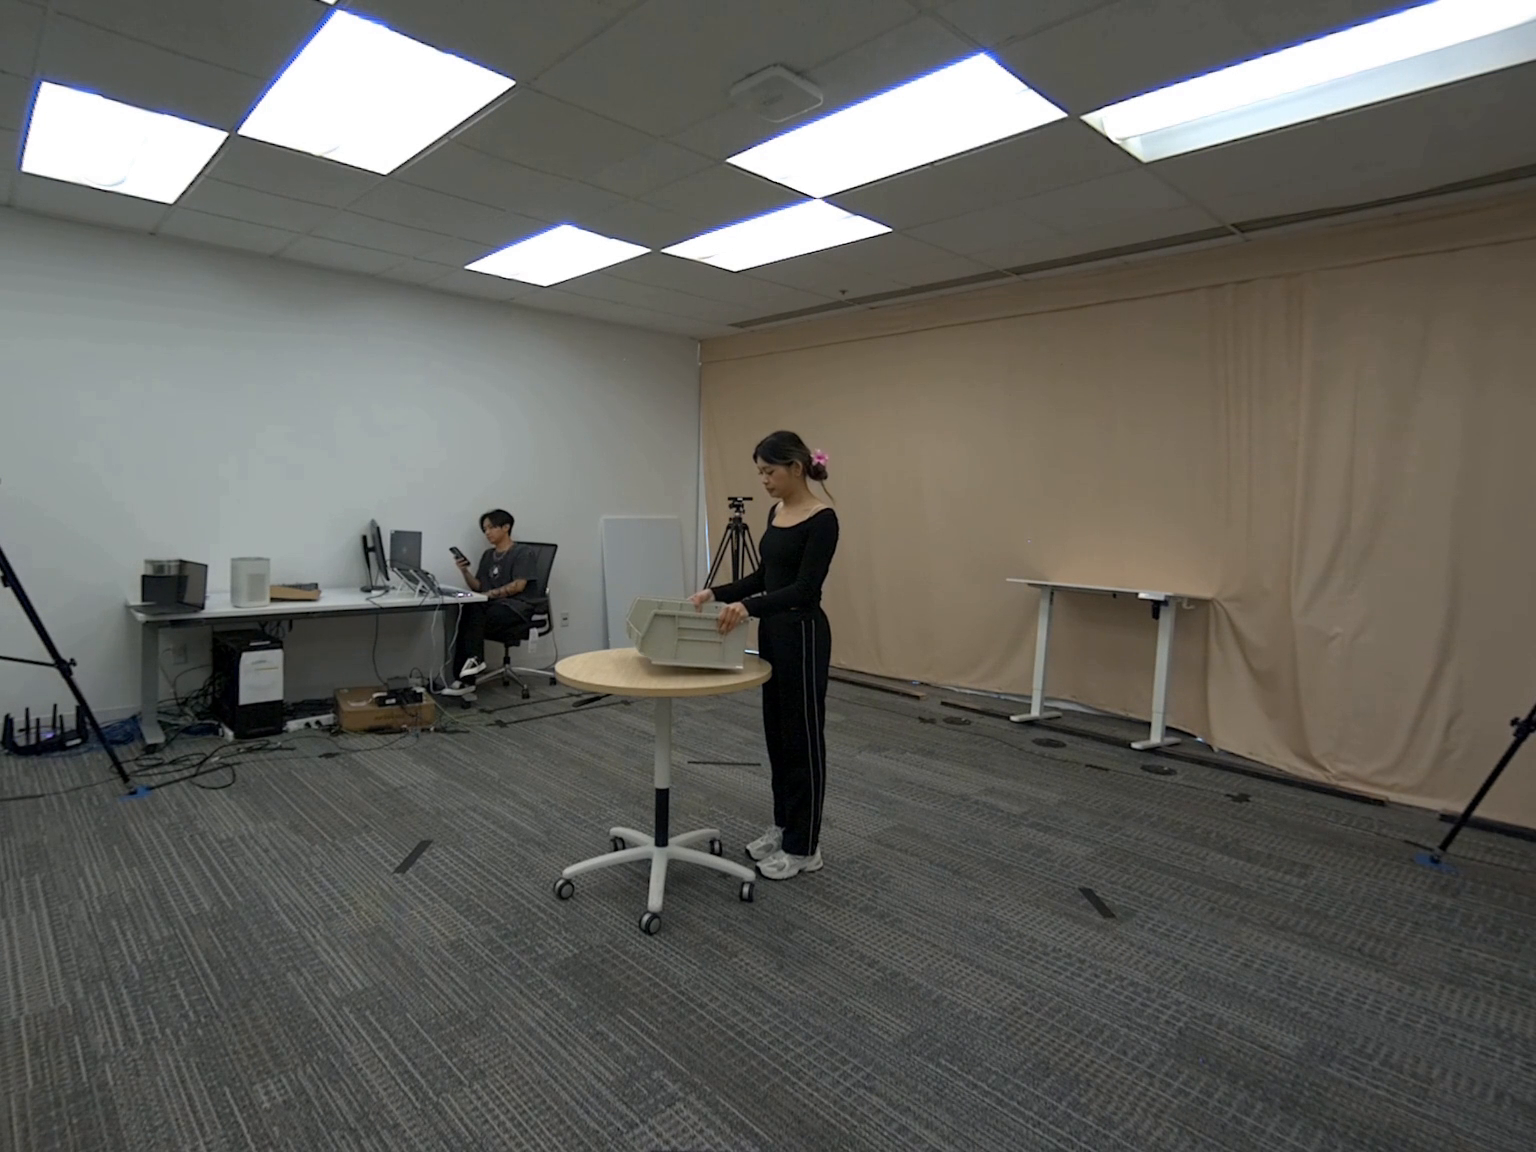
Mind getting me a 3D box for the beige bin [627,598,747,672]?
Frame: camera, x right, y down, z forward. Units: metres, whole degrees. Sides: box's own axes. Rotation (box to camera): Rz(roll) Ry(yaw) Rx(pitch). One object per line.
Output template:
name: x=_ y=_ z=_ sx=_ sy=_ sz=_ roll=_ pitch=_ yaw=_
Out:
beige bin: x=-0.305 y=0.194 z=2.988 sx=0.372 sy=0.189 sz=0.428 roll=7 pitch=3 yaw=-16
